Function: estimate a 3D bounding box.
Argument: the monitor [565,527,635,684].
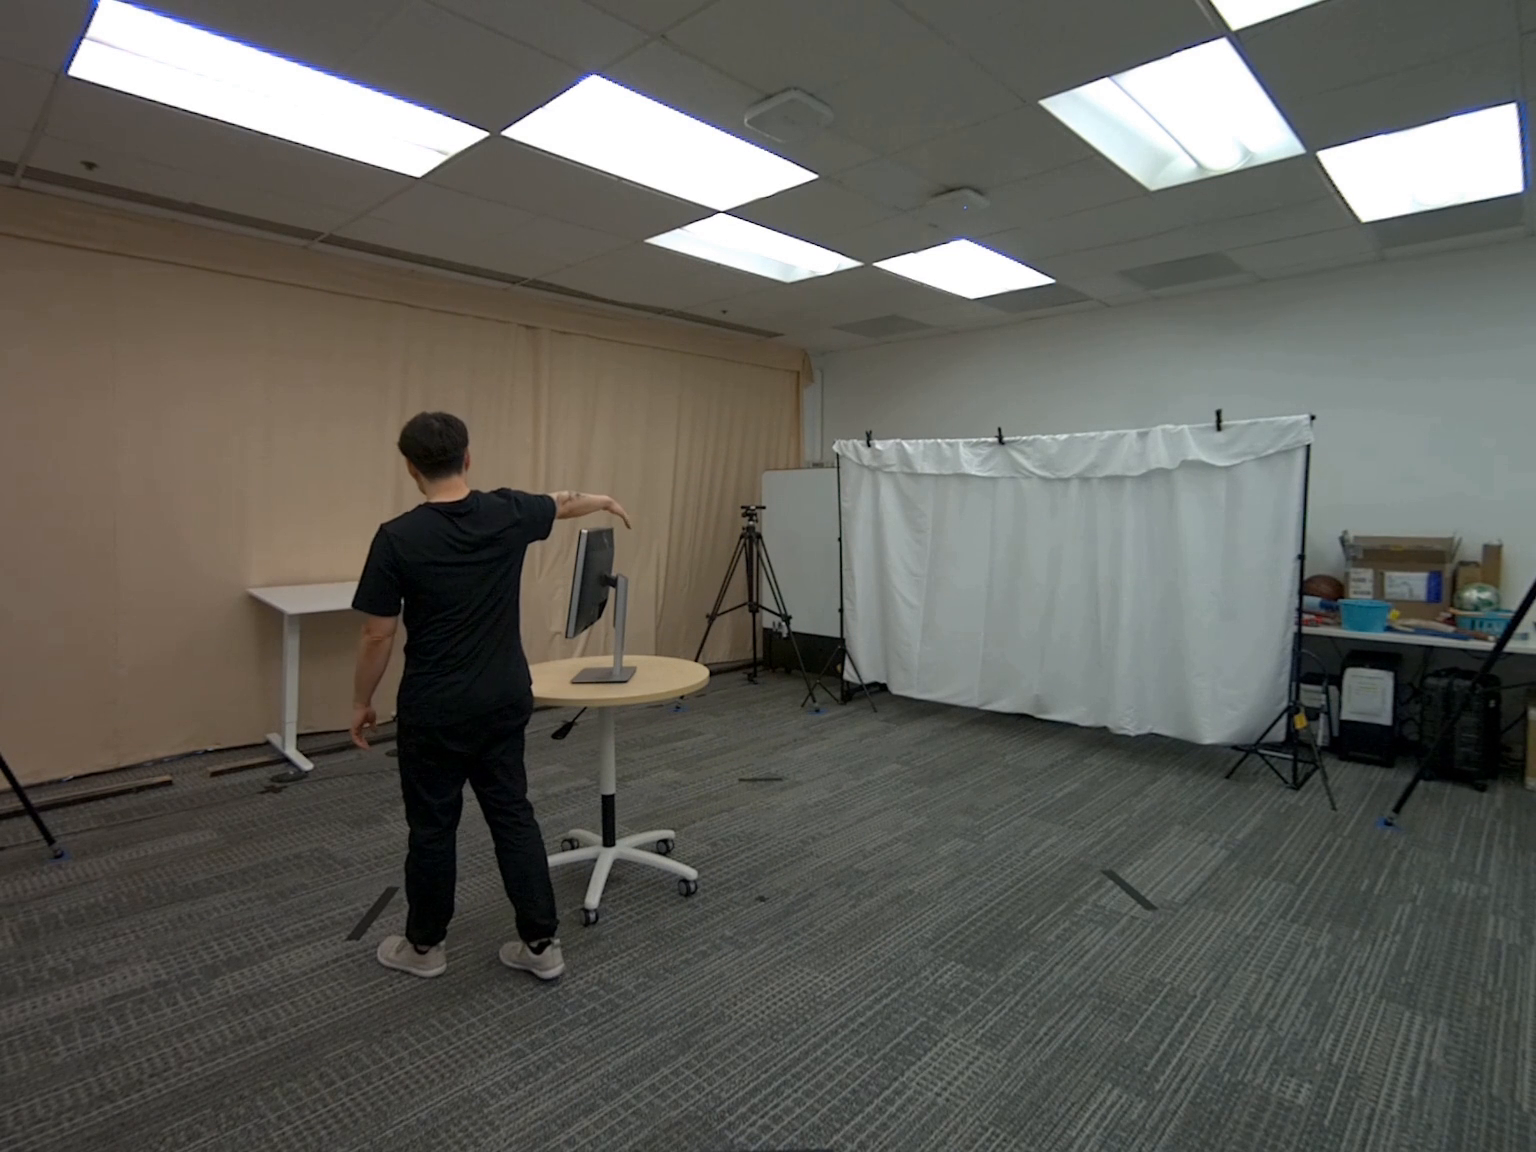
[{"bbox_3d":[-0.590,0.100,3.034,0.187,0.521,0.541,-2,3,-3],"label":"monitor"}]
